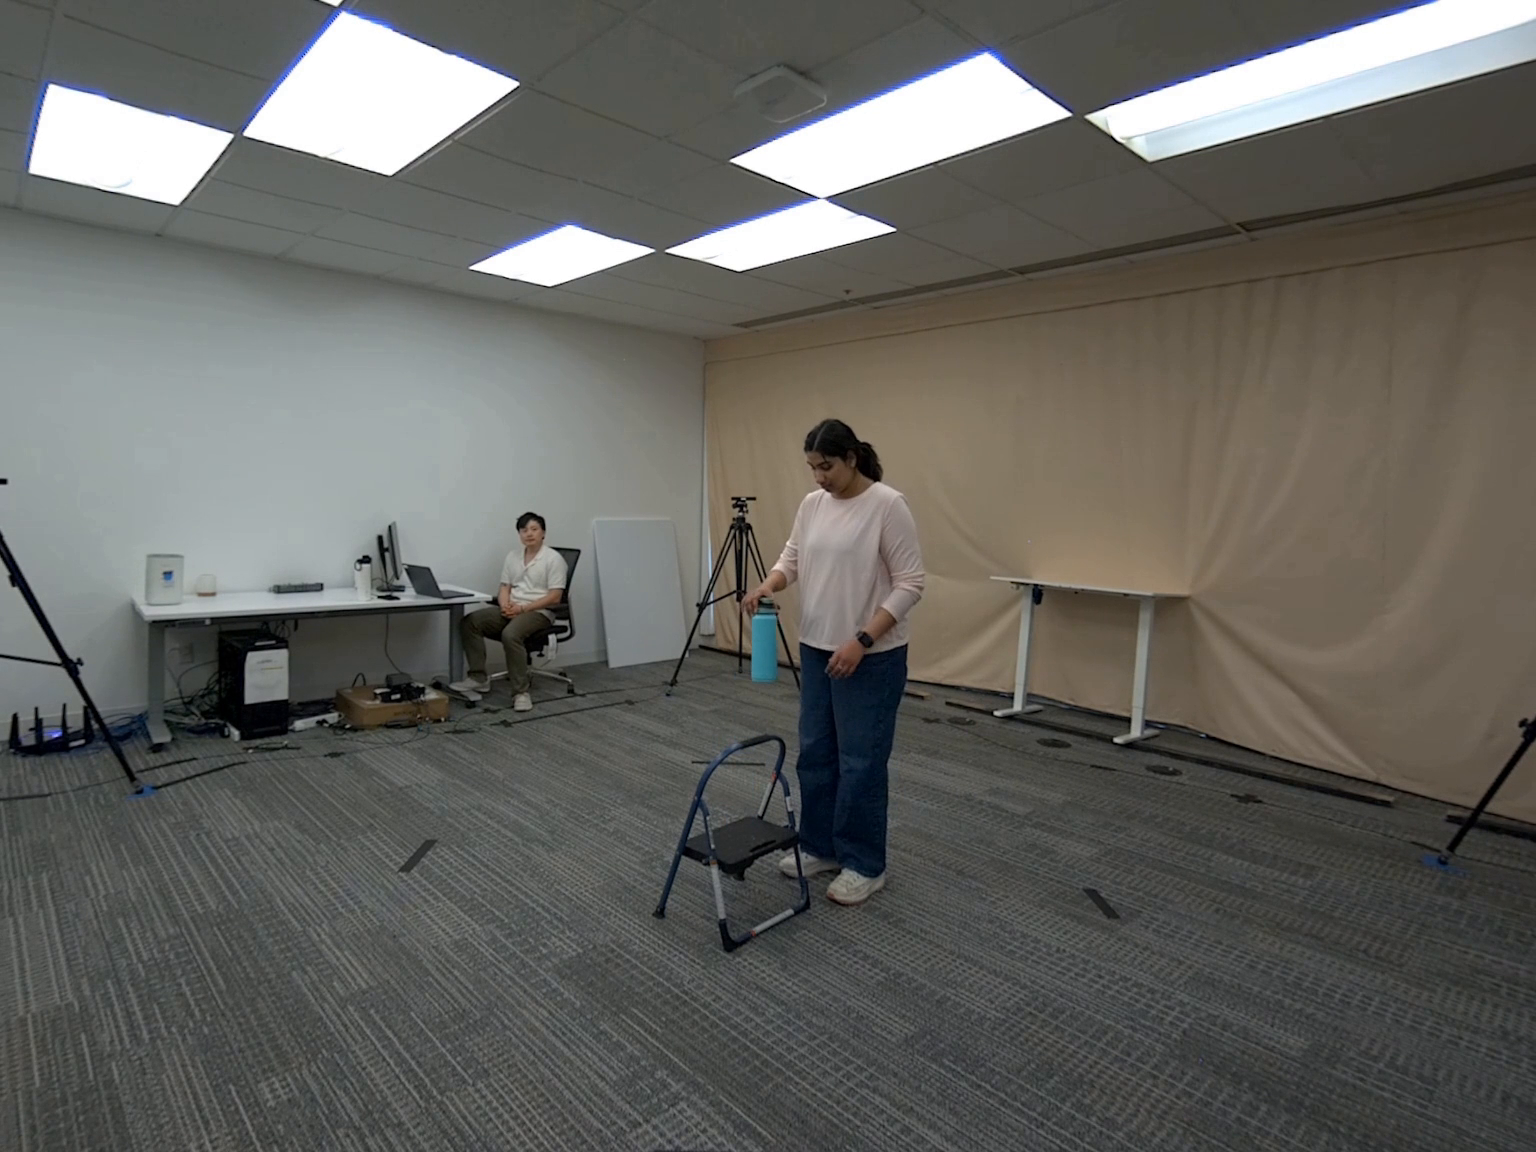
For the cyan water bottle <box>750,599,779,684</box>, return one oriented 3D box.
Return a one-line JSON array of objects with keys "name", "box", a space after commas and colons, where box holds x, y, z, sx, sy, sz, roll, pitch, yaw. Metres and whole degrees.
[{"name": "cyan water bottle", "box": [-0.016, 0.224, 2.899, 0.092, 0.283, 0.092, 0, -1, -1]}]
